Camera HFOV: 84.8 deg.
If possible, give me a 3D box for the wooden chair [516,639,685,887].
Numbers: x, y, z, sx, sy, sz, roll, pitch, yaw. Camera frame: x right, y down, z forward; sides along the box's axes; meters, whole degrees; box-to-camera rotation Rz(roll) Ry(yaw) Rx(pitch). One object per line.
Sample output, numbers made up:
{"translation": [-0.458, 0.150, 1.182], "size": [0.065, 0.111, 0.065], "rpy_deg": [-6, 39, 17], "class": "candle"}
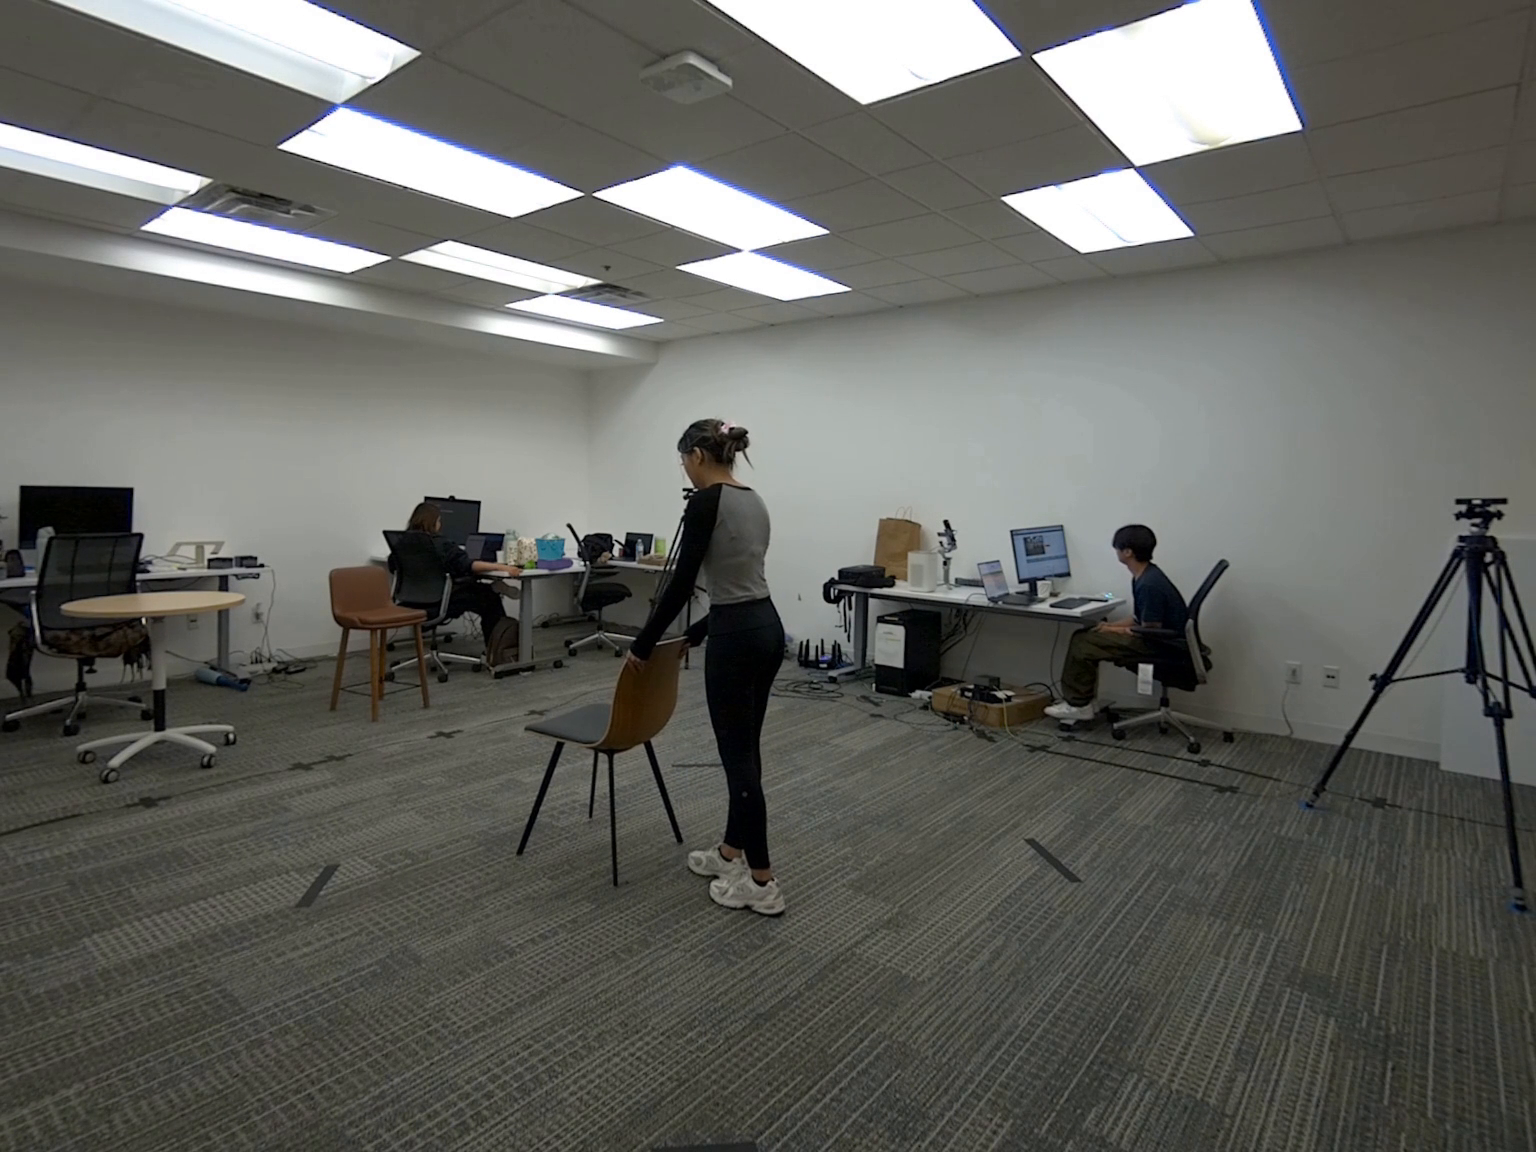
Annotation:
{"translation": [-0.633, 0.617, 3.223], "size": [0.539, 0.872, 0.467], "rpy_deg": [10, 7, 26], "class": "wooden chair"}
